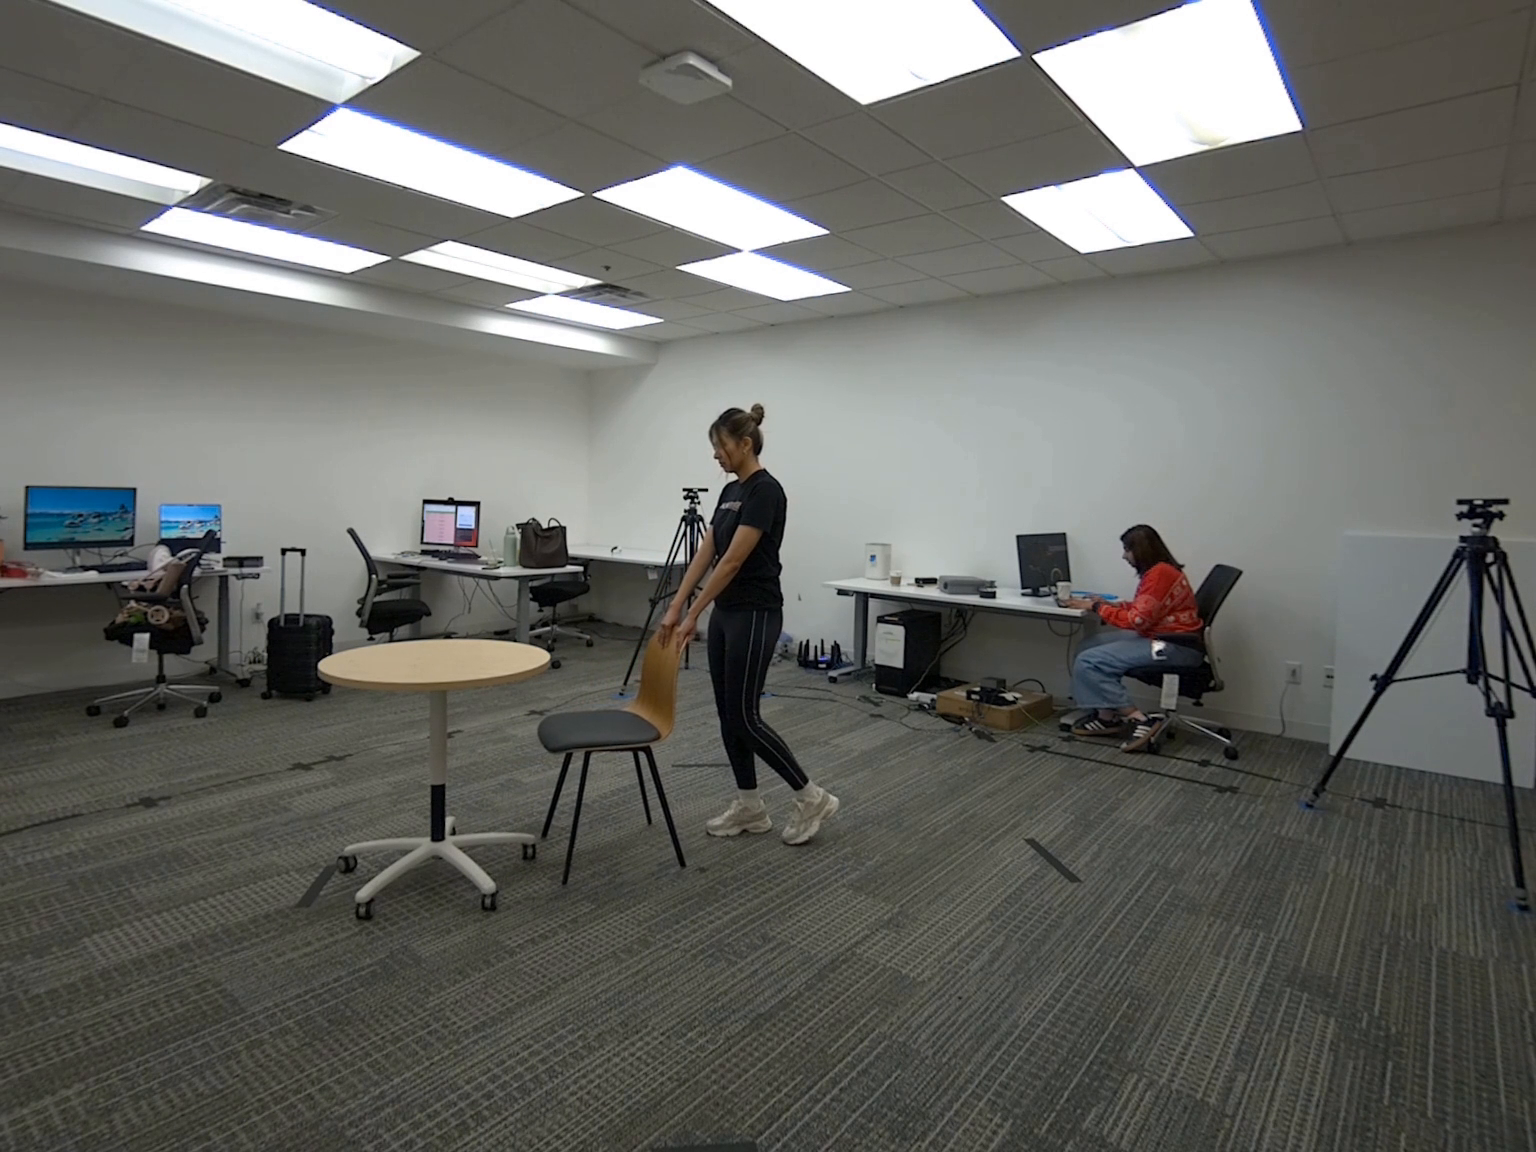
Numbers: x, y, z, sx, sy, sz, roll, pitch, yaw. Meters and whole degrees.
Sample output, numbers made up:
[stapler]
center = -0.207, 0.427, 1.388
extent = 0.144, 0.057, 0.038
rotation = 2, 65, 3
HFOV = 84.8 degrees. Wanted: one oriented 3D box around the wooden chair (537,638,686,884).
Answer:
[wooden chair]
center = -0.605, 0.627, 3.215
extent = 0.511, 0.876, 0.490
rotation = 4, 2, -23
